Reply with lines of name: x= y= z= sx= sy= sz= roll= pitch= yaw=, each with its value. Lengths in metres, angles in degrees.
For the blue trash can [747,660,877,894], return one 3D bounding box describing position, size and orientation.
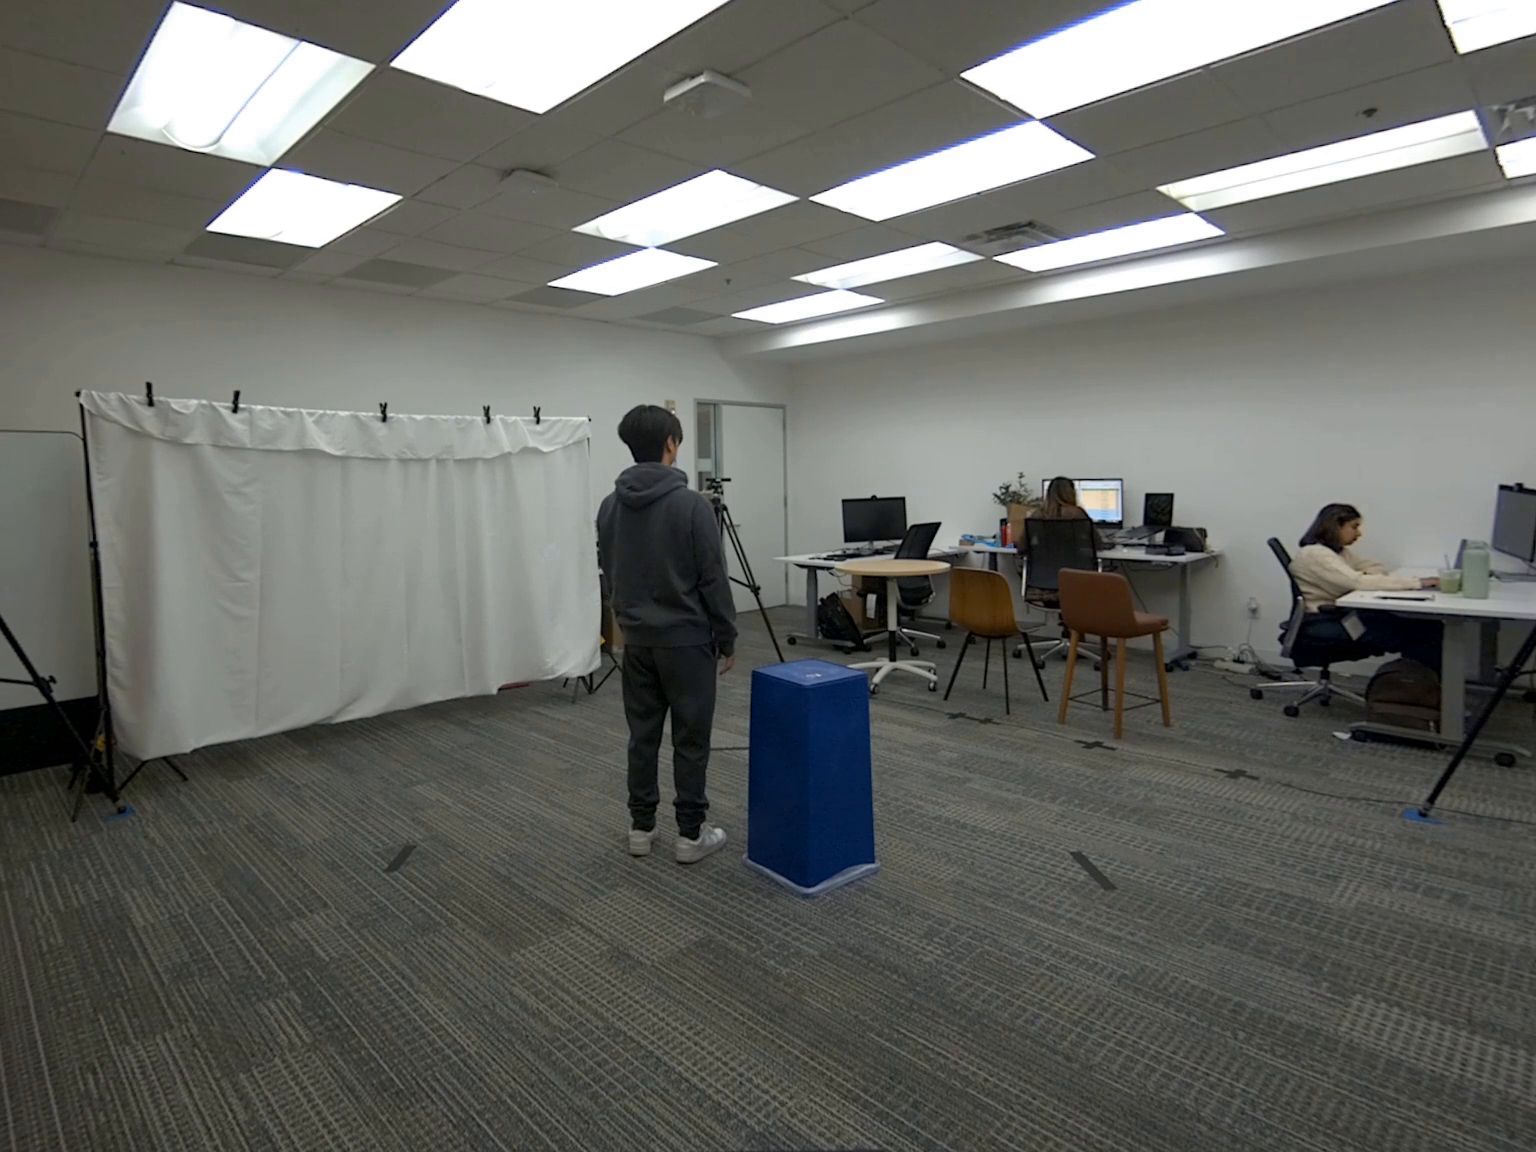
blue trash can: x=0.153 y=0.690 z=3.046 sx=0.368 sy=0.710 sz=0.385 roll=-4 pitch=6 yaw=-38
